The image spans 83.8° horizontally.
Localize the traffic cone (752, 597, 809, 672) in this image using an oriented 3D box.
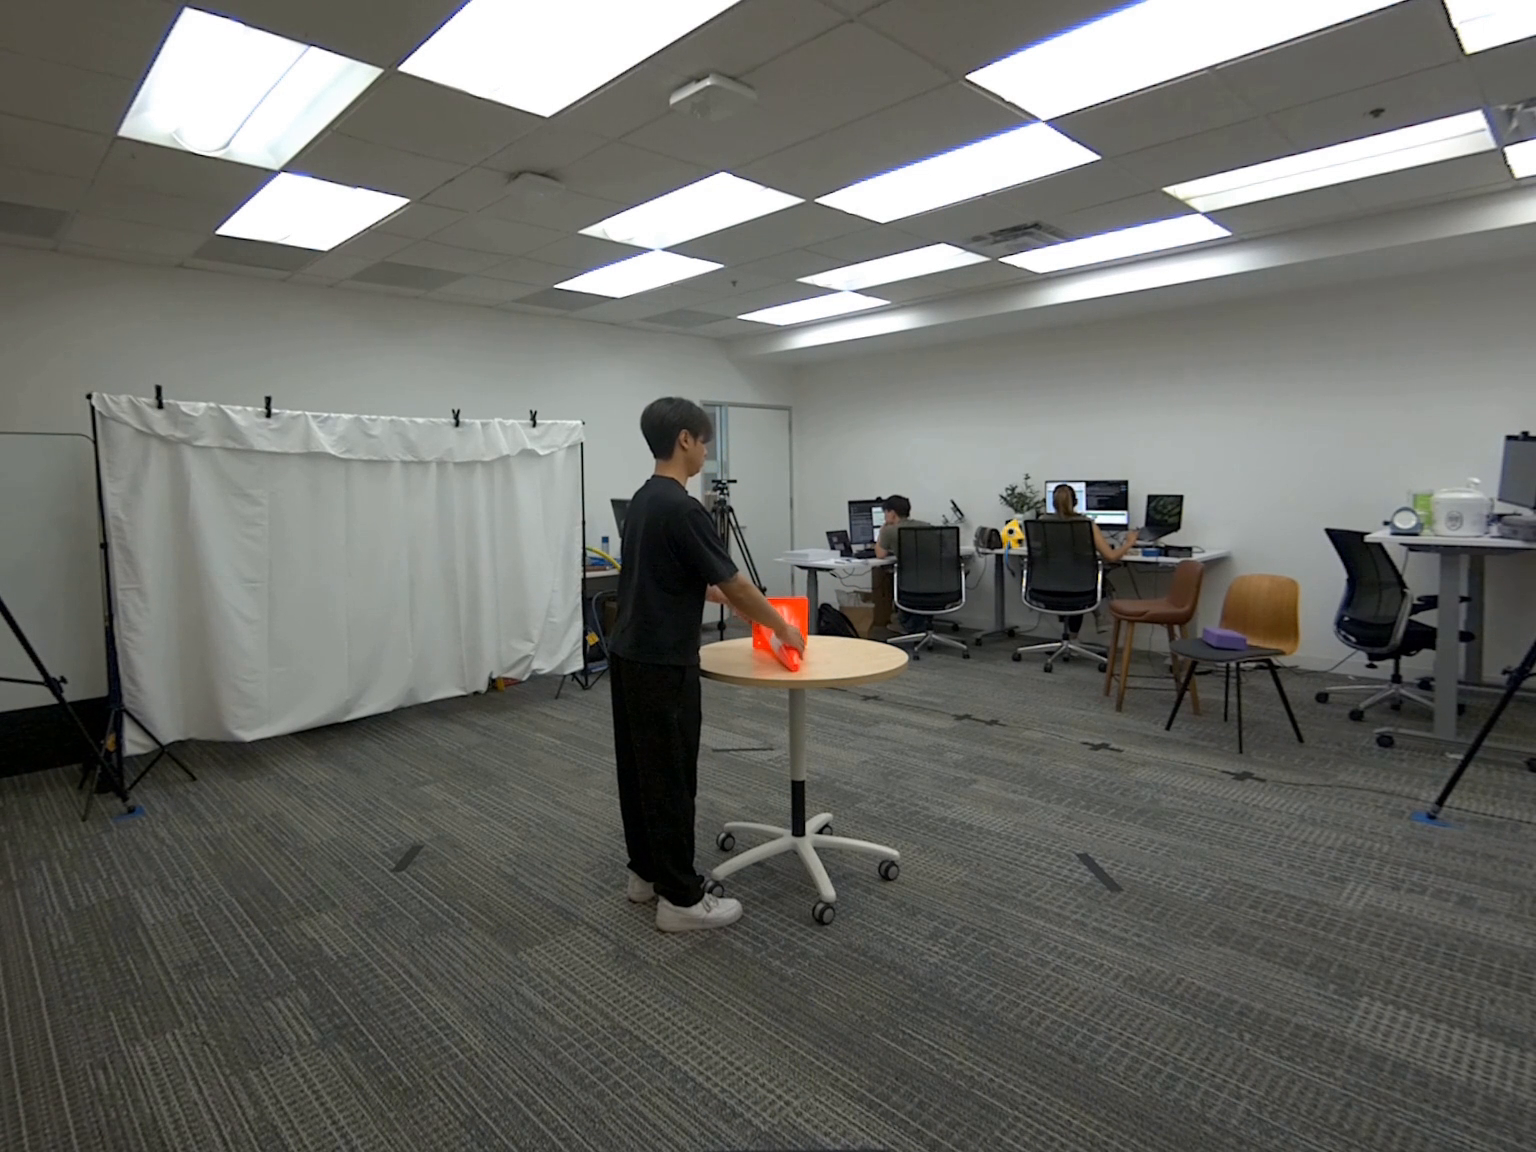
[{"bbox_3d":[0.068,0.235,2.891,0.202,0.202,0.391,-2,19,-5],"label":"traffic cone"}]
